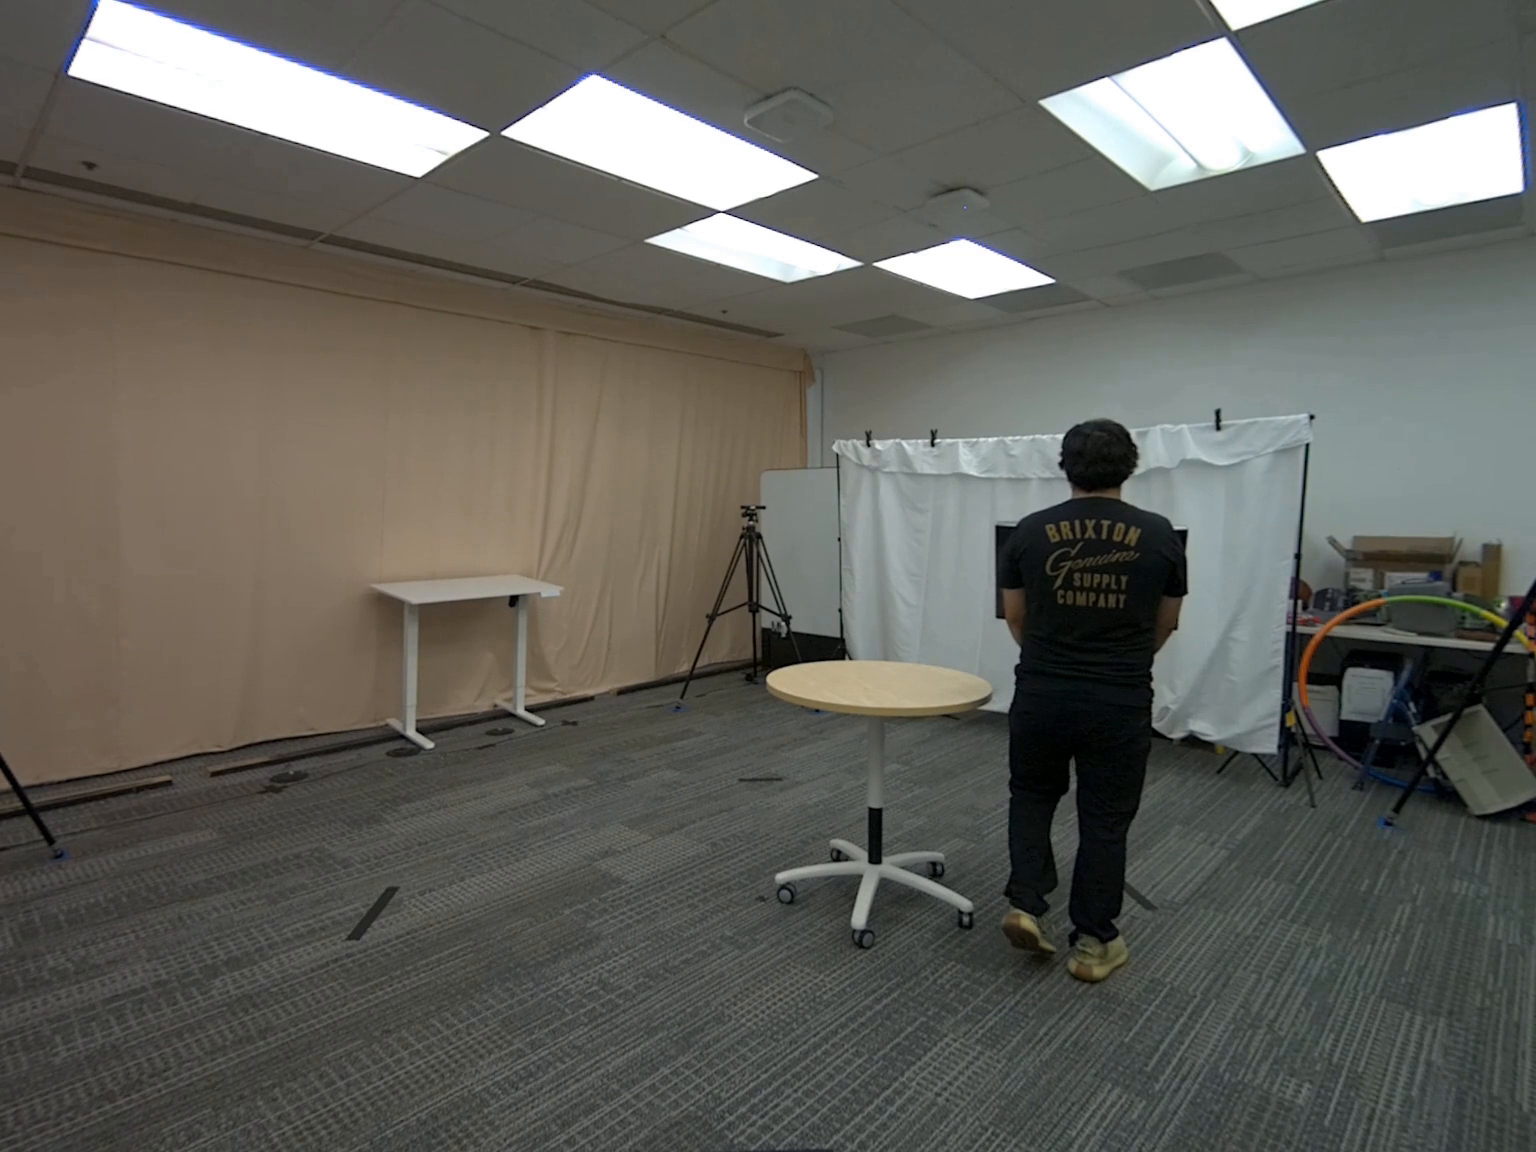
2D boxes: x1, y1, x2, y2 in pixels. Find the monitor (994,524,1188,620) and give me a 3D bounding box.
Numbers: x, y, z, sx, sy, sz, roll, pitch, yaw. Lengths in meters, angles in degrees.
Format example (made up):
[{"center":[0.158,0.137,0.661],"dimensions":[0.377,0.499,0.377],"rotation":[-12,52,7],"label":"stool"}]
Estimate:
[{"center":[1.008,0.108,2.693],"dimensions":[0.579,0.546,0.208],"rotation":[3,22,22],"label":"monitor"}]
